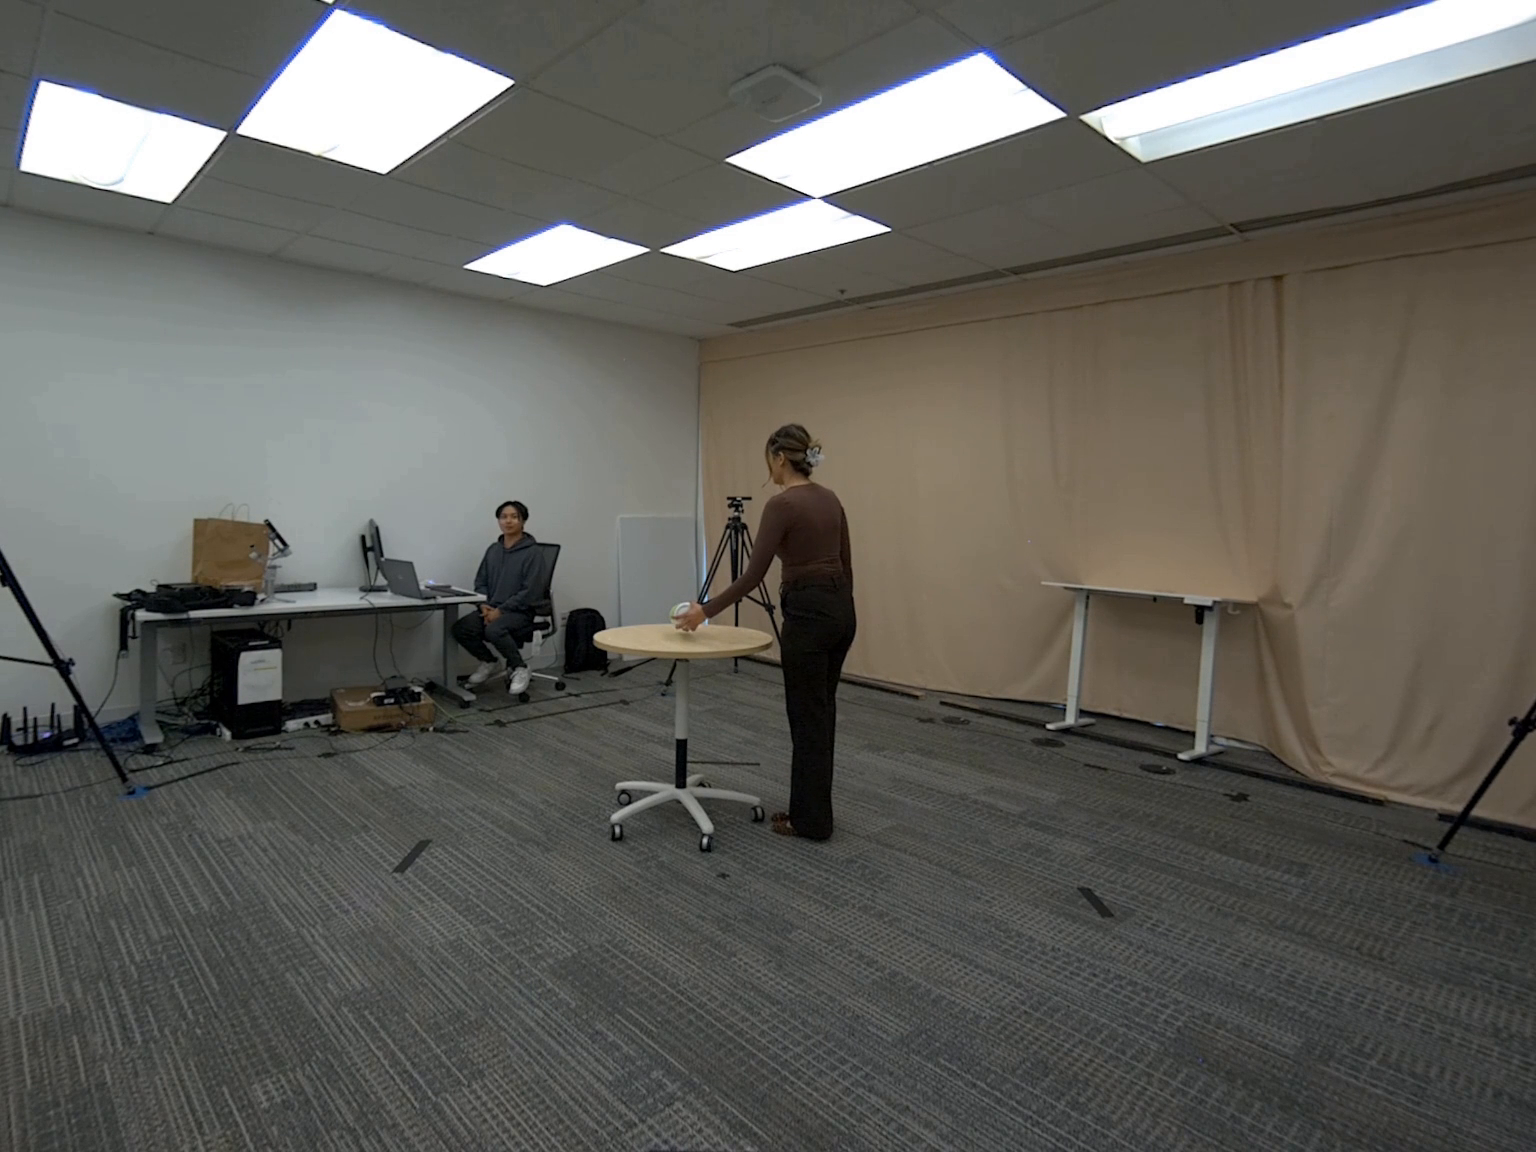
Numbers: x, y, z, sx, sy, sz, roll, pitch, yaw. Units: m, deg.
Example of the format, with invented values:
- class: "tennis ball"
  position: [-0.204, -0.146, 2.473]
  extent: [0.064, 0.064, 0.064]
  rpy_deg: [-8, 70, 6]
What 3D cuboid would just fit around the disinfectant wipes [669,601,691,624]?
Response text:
- class: "disinfectant wipes"
  position: [-0.360, 0.168, 3.606]
  extent: [0.117, 0.118, 0.219]
  rpy_deg: [1, -2, -12]
